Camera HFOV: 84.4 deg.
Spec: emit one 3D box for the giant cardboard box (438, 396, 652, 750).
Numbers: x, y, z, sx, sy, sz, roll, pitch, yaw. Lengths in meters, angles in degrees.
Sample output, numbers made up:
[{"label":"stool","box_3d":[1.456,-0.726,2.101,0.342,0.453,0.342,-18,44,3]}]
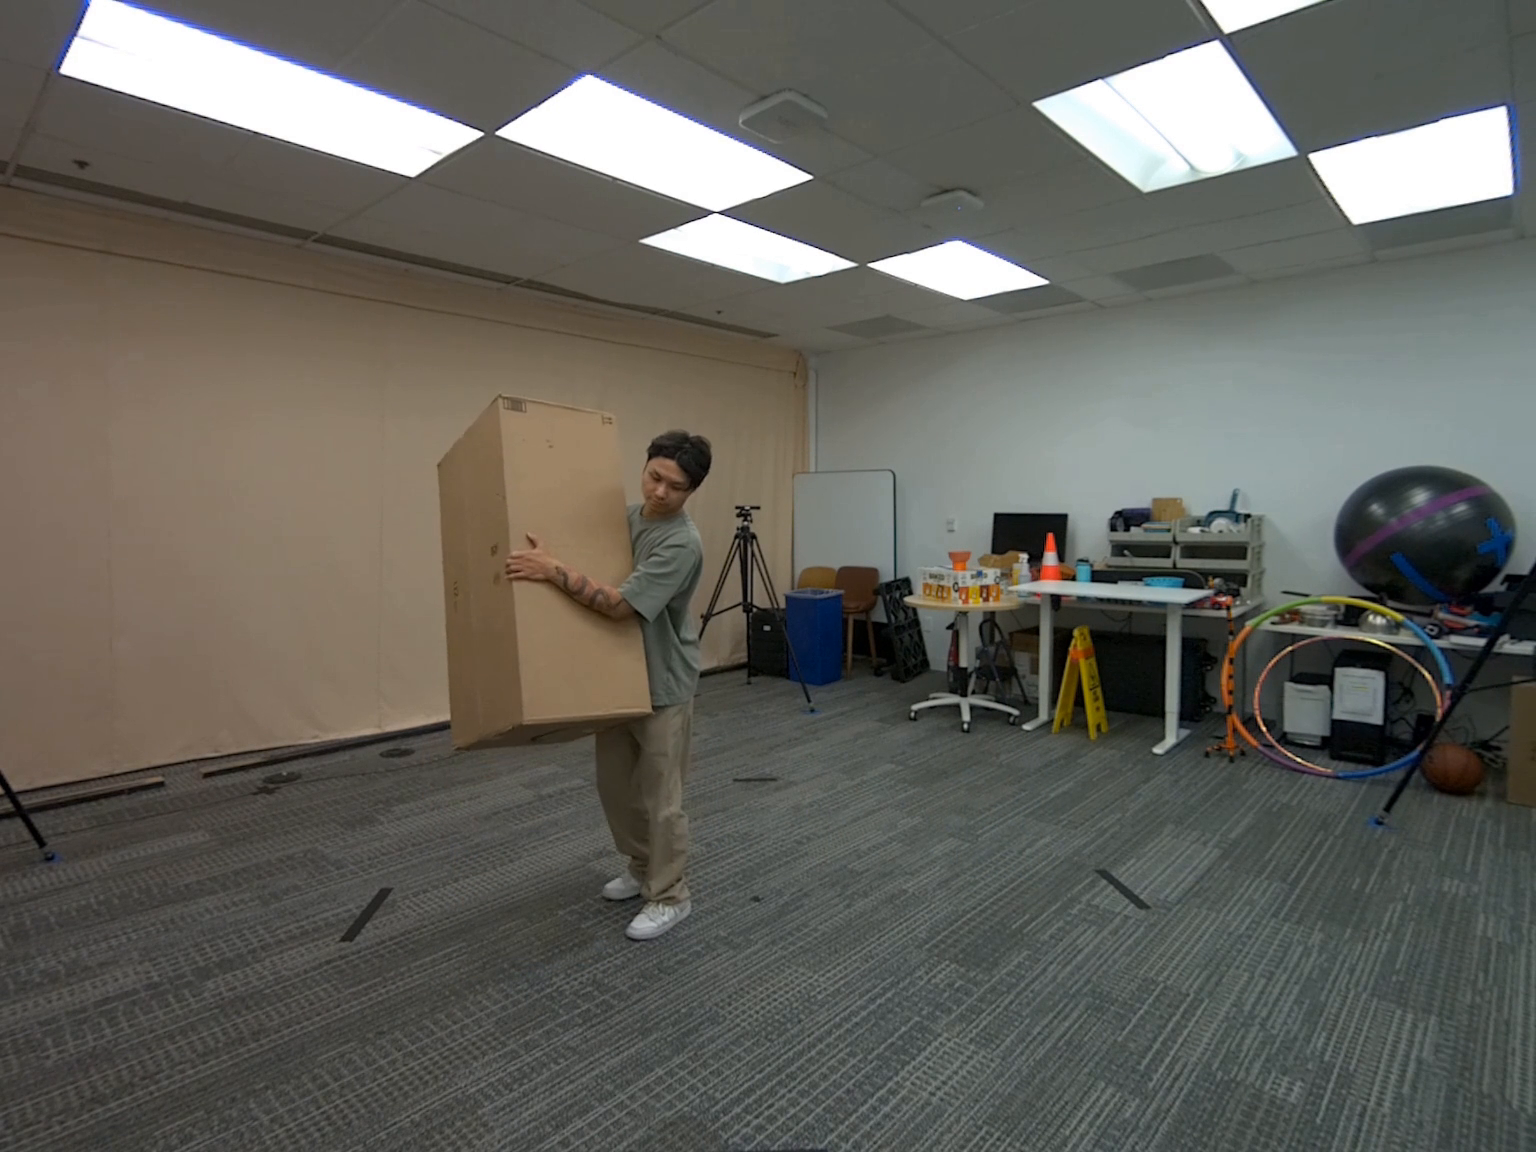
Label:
[{"label":"giant cardboard box","box_3d":[-0.772,0.015,2.805,0.413,1.039,0.589,3,-21,-39]}]
